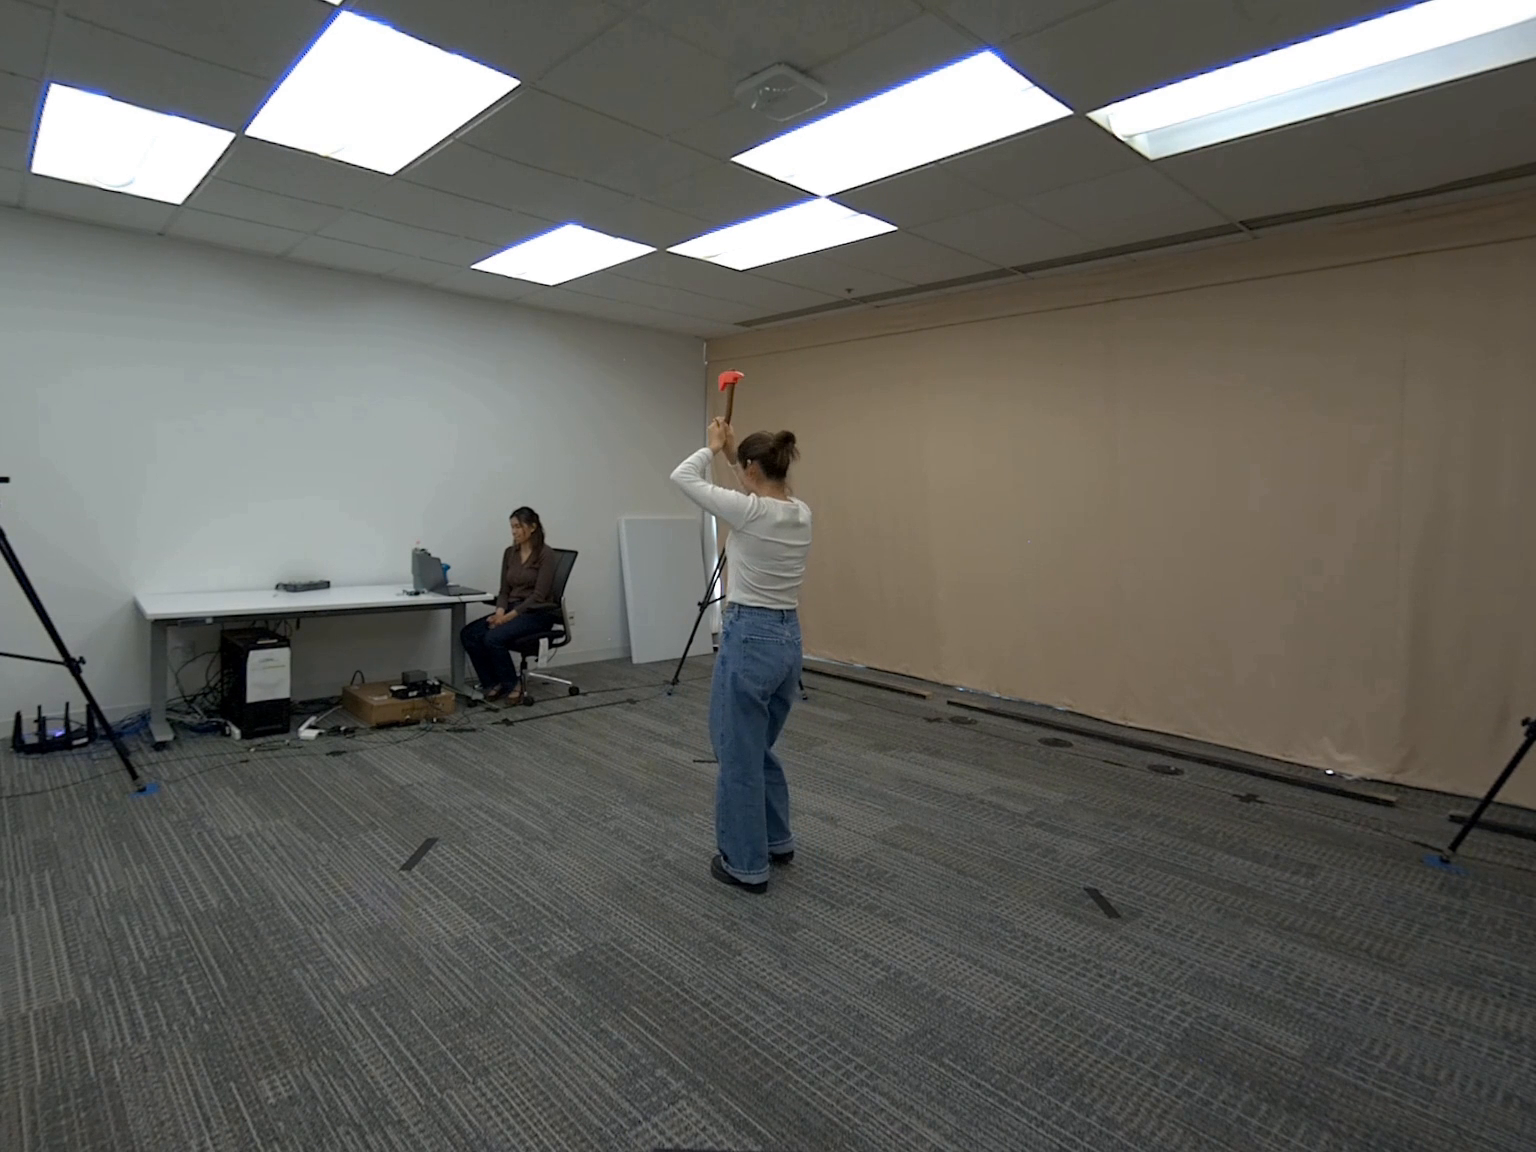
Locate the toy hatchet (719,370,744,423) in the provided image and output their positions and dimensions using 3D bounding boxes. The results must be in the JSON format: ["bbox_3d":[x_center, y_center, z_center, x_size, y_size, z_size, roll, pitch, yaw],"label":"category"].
[{"bbox_3d":[-0.171,-0.633,3.098,0.135,0.268,0.029,30,18,37],"label":"toy hatchet"}]
